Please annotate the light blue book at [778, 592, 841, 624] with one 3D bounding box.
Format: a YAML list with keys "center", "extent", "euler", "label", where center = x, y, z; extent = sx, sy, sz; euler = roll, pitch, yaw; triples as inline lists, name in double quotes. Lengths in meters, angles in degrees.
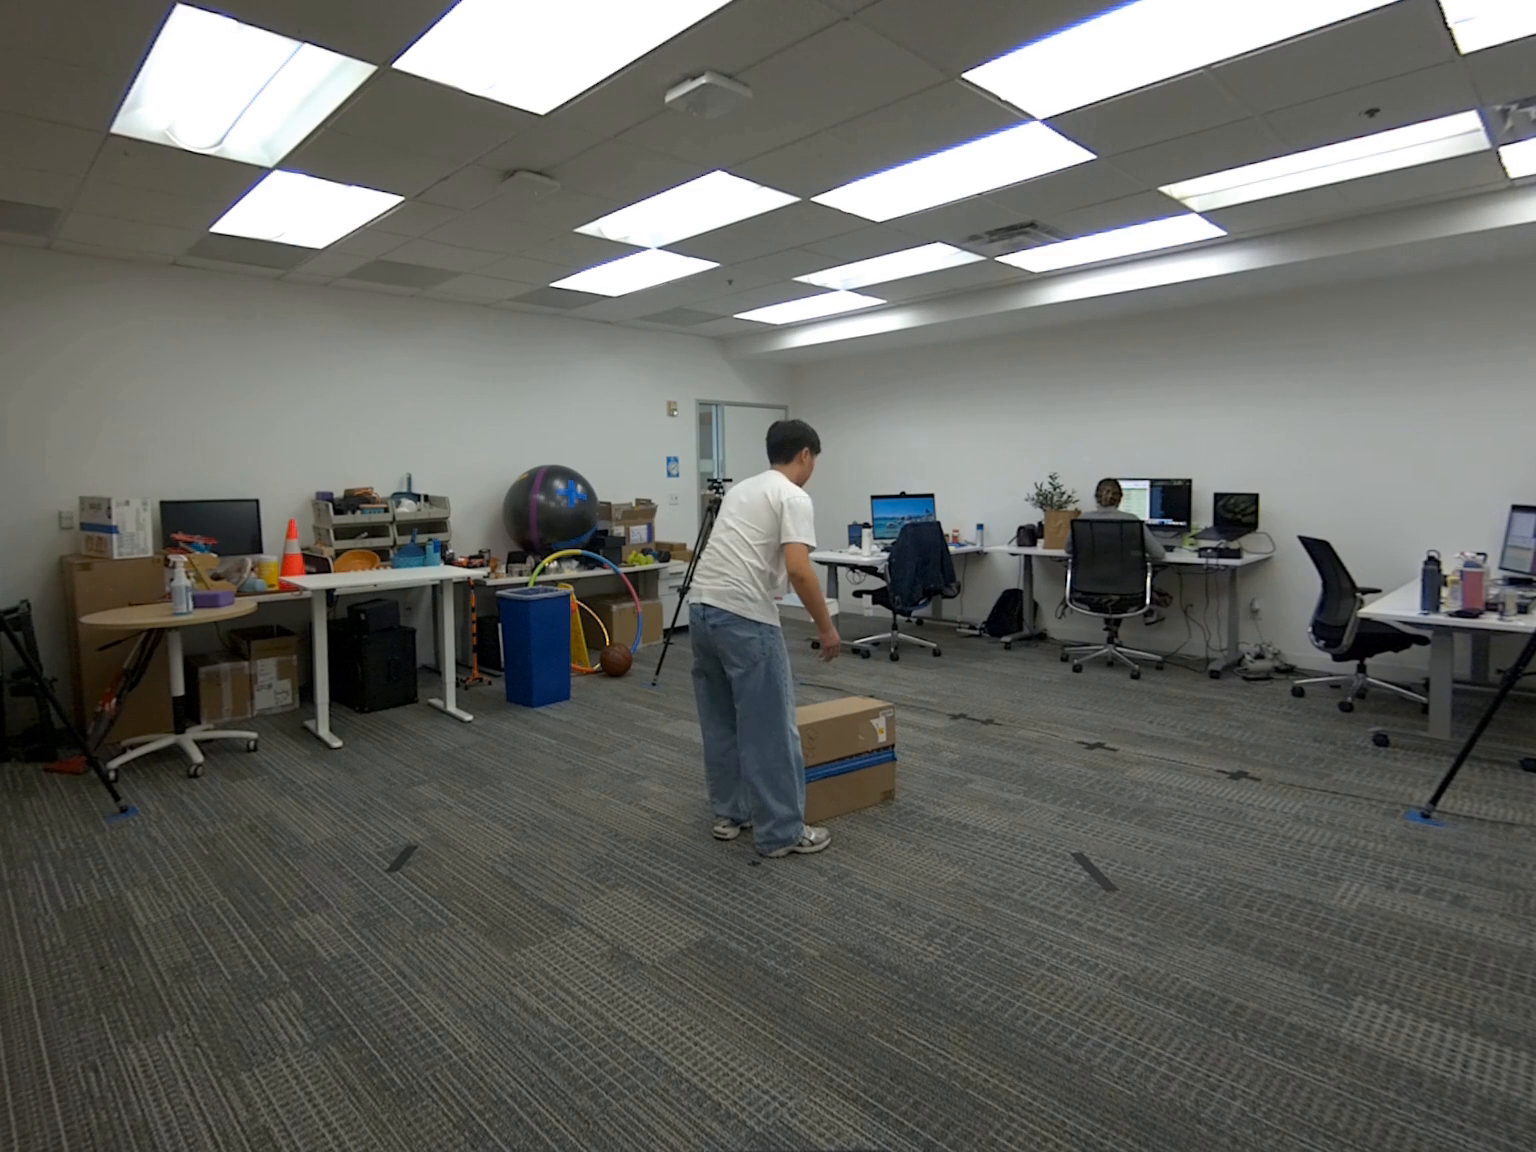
- center: [0.154, 0.149, 3.636]
  extent: [0.269, 0.058, 0.187]
  euler: [6, 13, 42]
  label: "light blue book"
